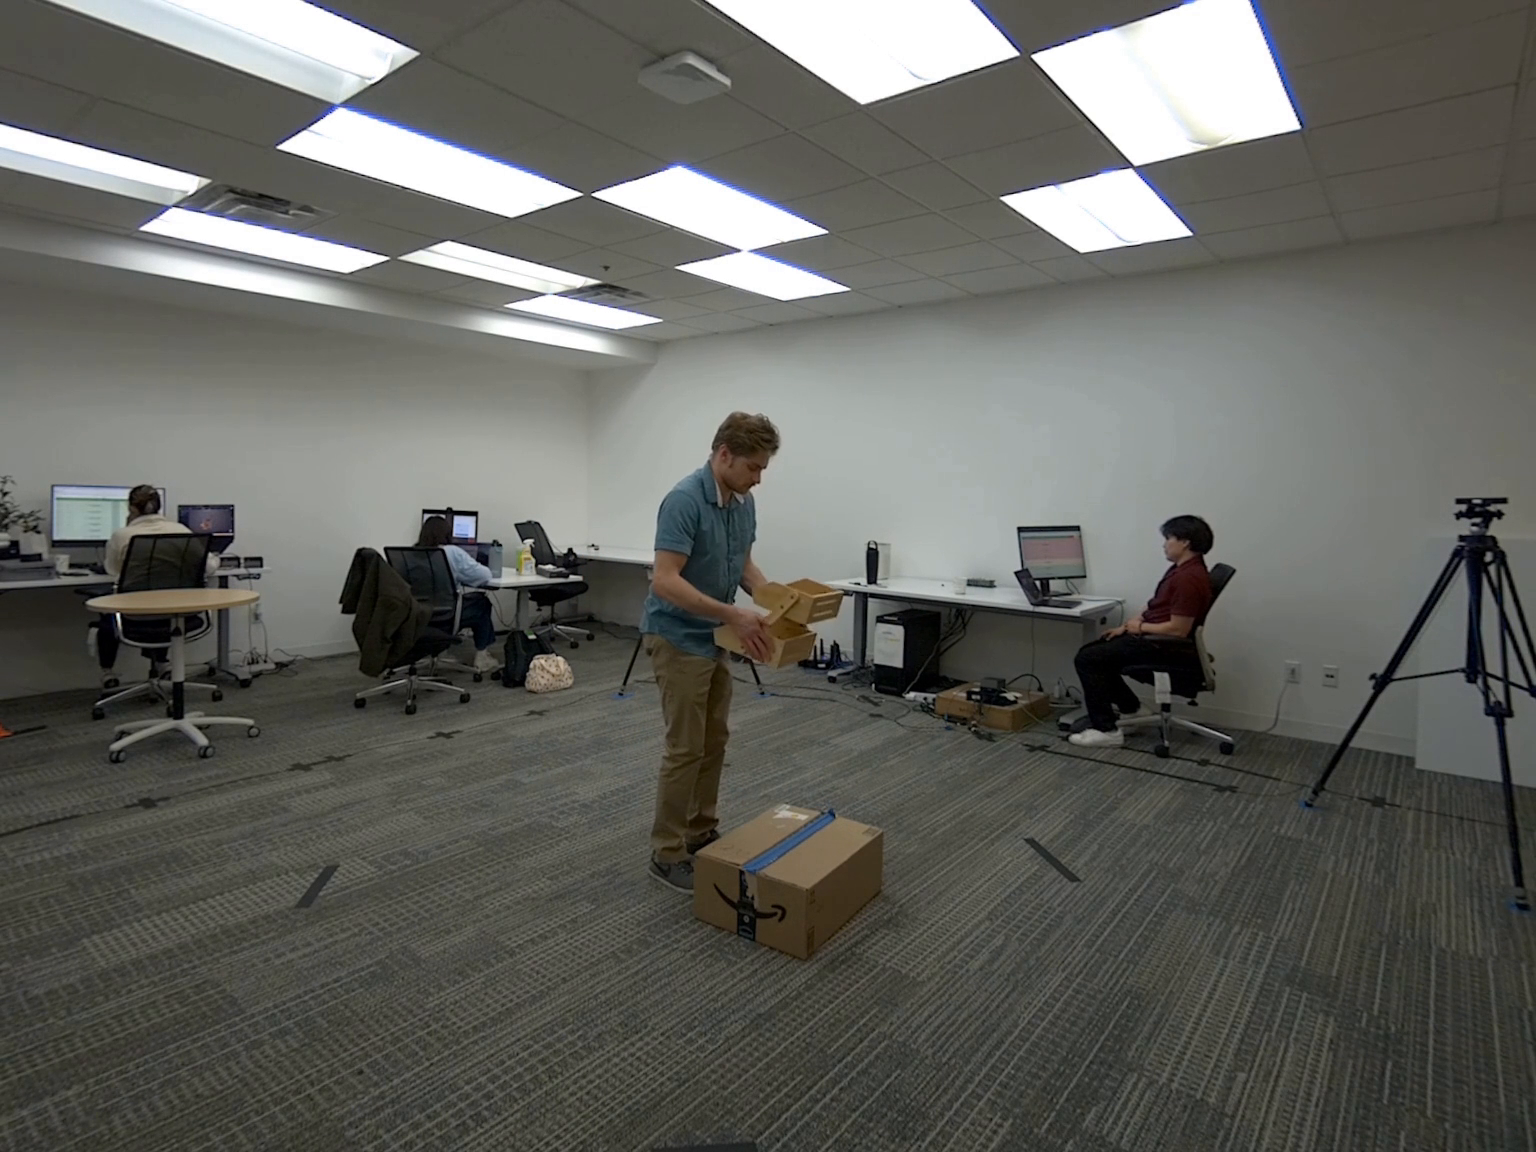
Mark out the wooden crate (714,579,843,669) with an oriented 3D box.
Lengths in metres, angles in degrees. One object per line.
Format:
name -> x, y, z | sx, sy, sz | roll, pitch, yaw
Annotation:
wooden crate -> 0.027, 0.133, 2.853 | 0.311, 0.272, 0.317 | 19, 9, 23
